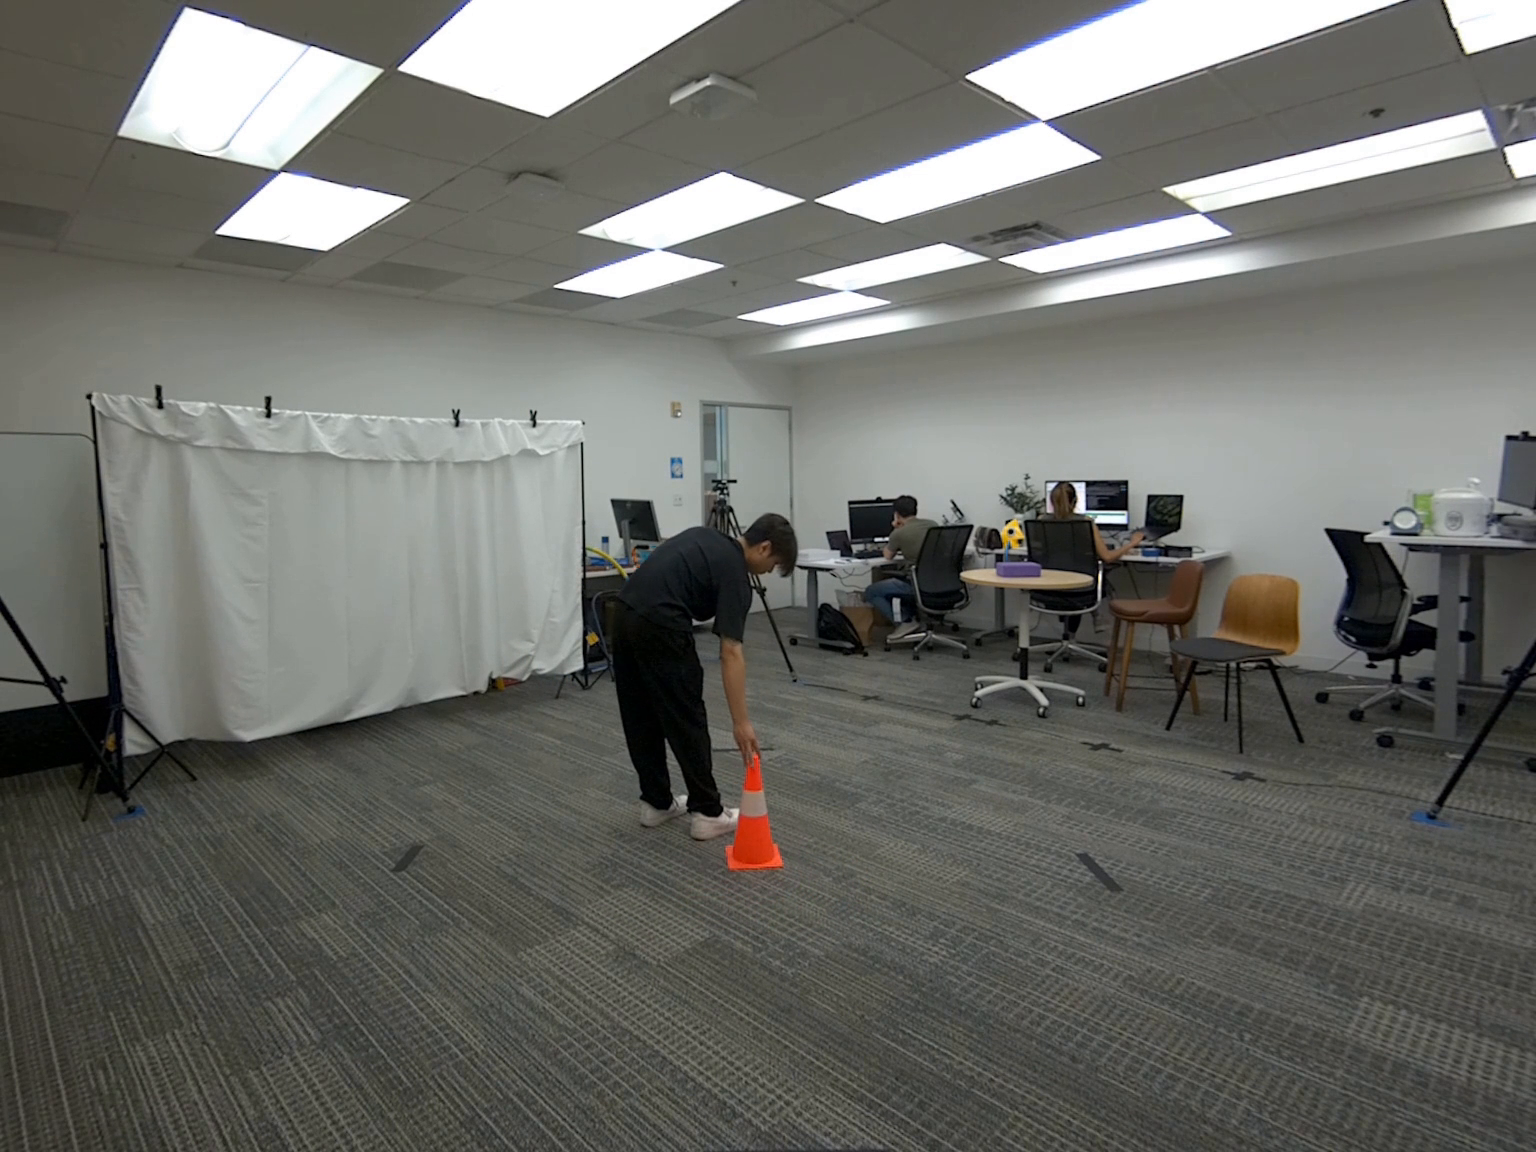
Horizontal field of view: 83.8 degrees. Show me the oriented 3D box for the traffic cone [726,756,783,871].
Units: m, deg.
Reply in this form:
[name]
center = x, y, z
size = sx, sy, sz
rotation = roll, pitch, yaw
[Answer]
[traffic cone]
center = -0.054, 0.859, 3.156
size = 0.203, 0.382, 0.206
rotation = -2, 4, -4
